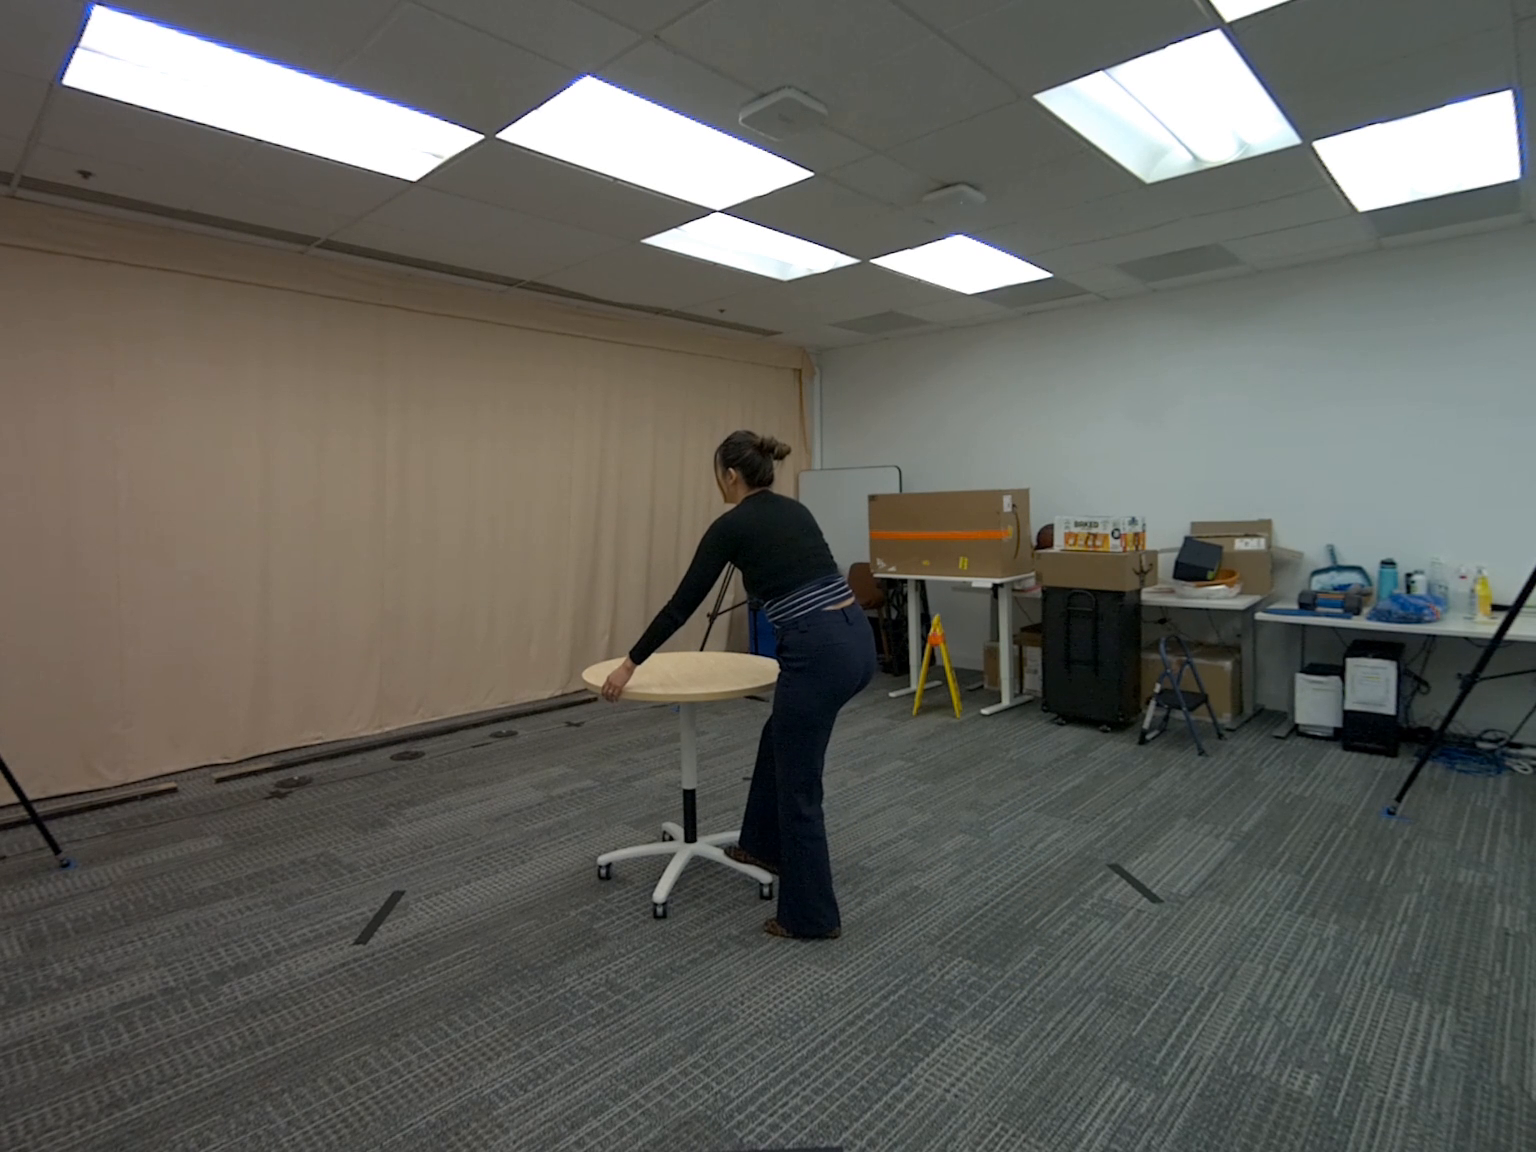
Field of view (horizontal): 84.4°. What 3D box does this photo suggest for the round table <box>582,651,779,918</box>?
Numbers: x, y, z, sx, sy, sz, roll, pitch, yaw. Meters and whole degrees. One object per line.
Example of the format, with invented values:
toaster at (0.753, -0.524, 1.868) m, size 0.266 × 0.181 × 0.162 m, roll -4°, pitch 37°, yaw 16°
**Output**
round table at (-0.291, 0.742, 3.134) m, size 0.763 × 0.792 × 0.767 m, roll -2°, pitch 4°, yaw -2°
